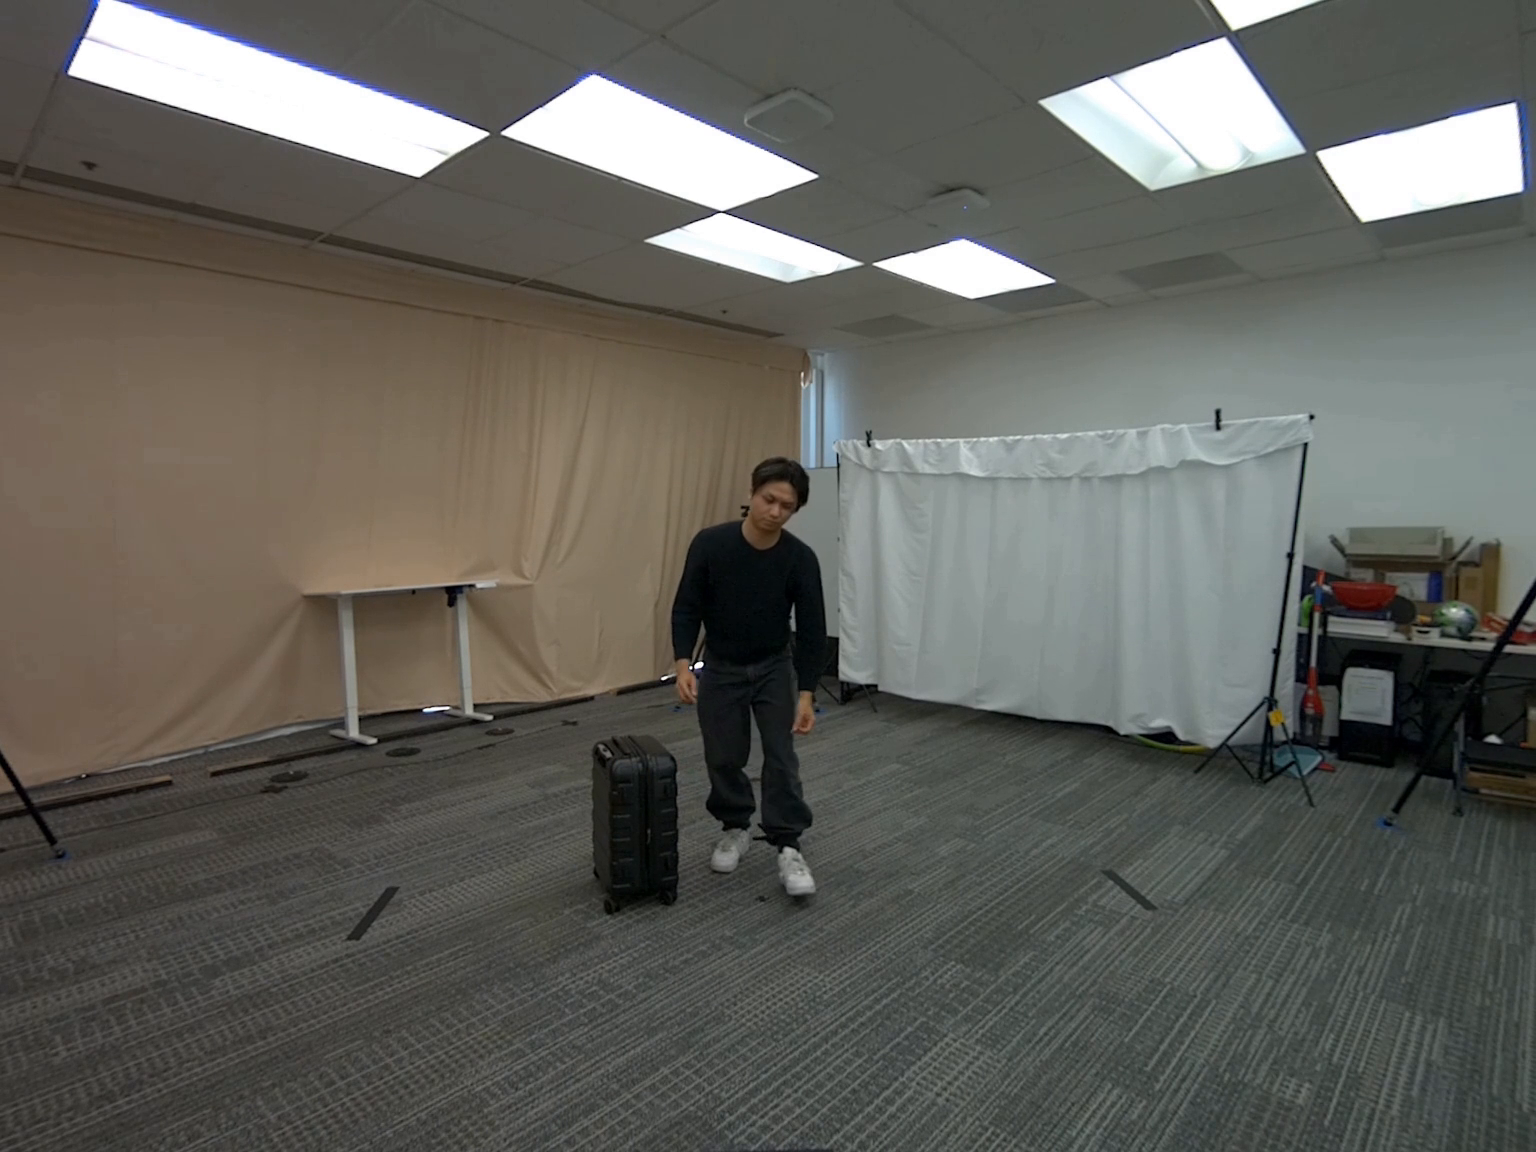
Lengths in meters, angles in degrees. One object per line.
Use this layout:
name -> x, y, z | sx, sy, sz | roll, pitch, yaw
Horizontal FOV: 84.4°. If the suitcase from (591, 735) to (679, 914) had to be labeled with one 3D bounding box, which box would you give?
suitcase -> -0.479, 0.864, 3.038 | 0.243, 0.548, 0.384 | 0, 3, -23
